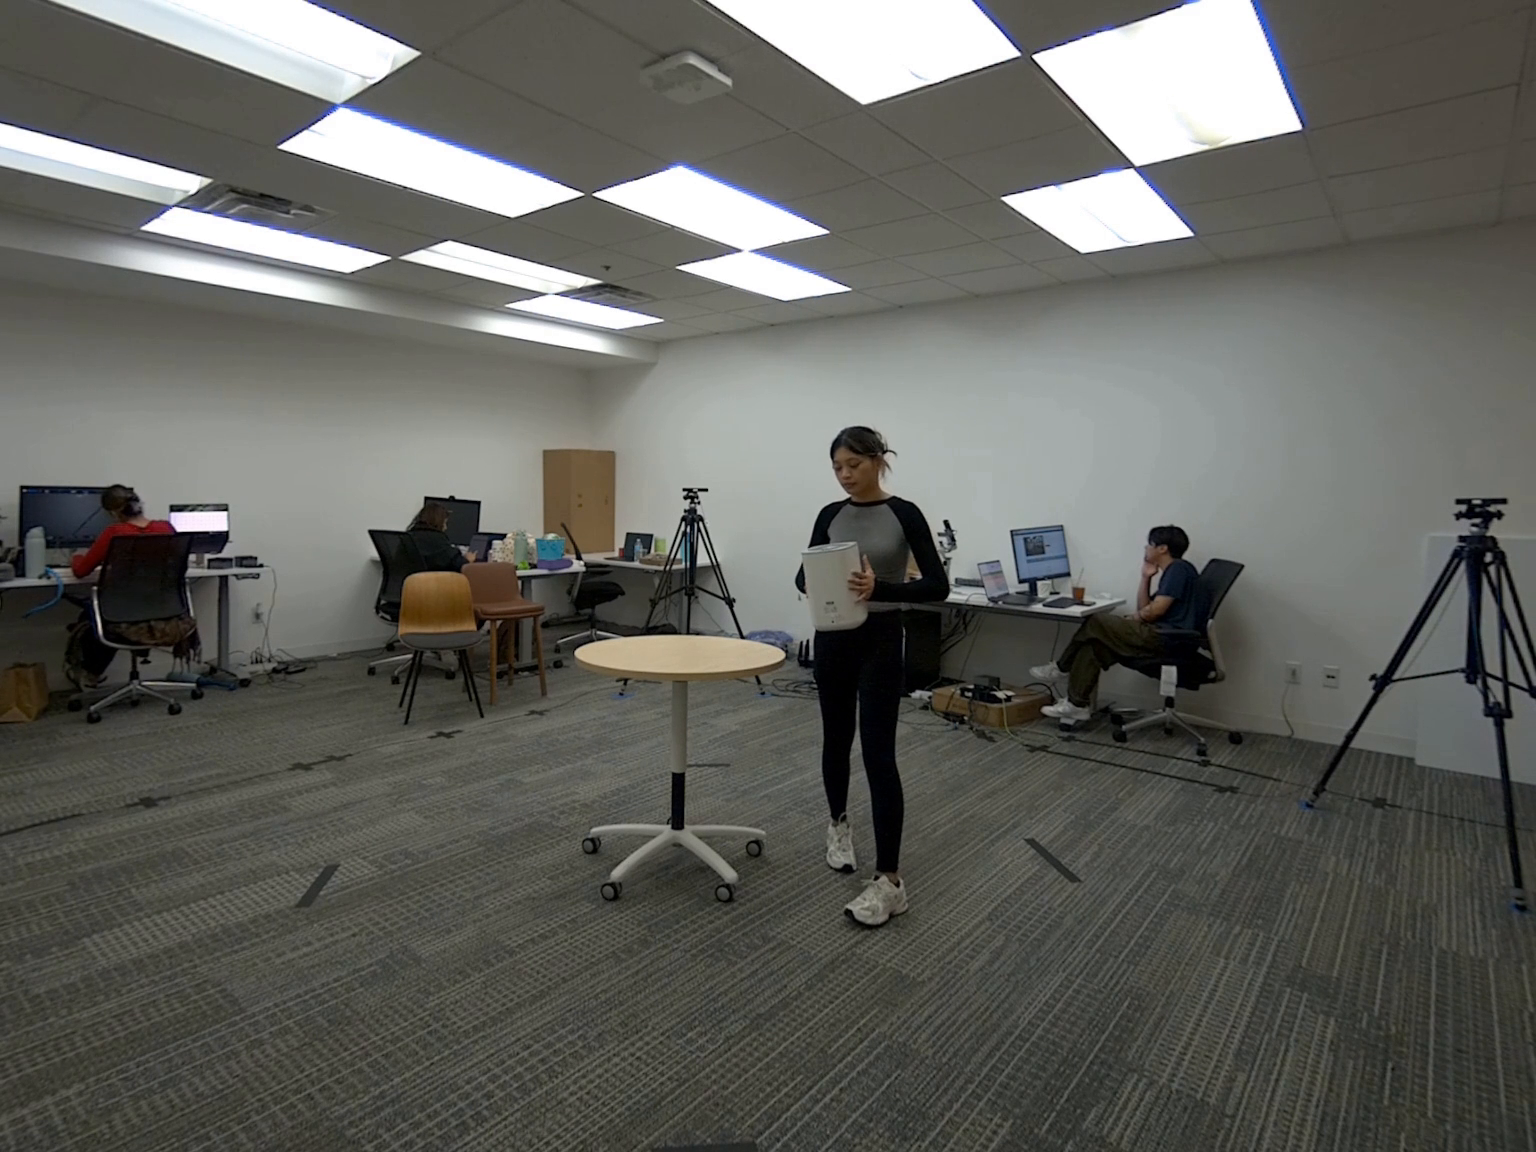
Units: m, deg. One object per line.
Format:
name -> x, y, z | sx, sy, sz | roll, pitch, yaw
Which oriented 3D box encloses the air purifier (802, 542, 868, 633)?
air purifier -> 0.209, 0.030, 2.793 | 0.174, 0.264, 0.169 | -4, 6, 21
